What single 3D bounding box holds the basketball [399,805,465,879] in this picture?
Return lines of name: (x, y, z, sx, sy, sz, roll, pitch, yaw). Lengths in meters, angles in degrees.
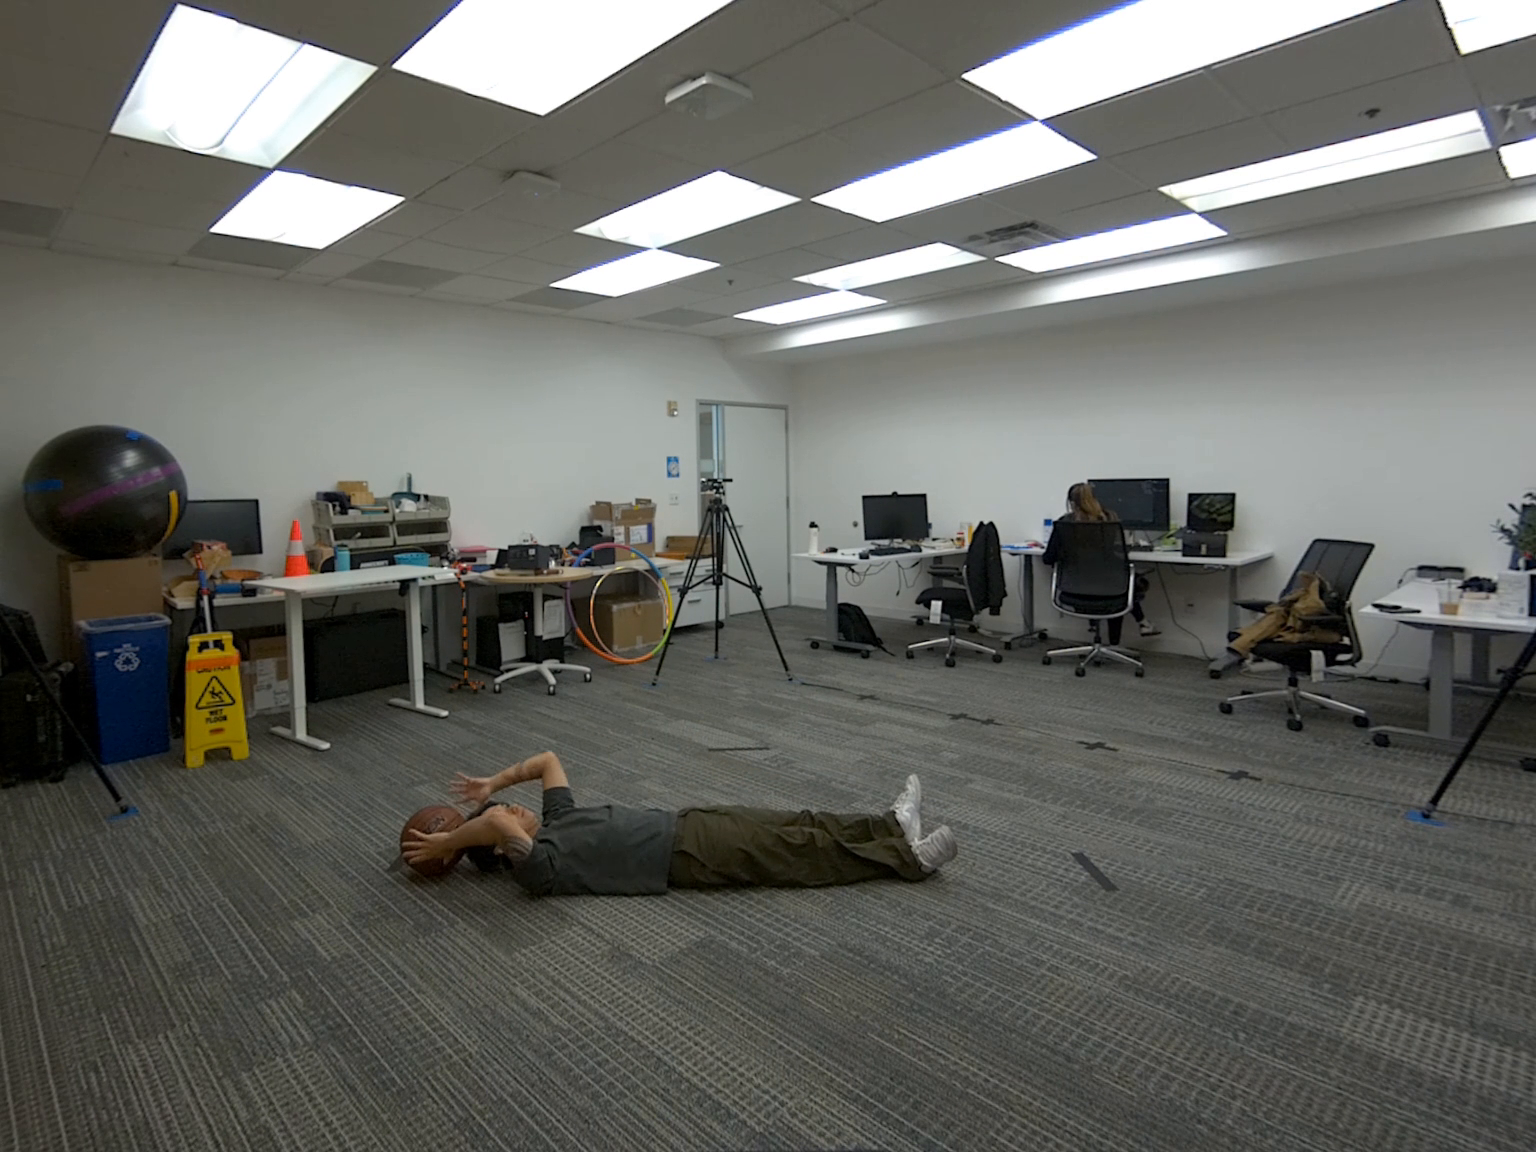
basketball: (-1.203, 0.947, 3.089, 0.236, 0.235, 0.237, -1, 5, -2)
